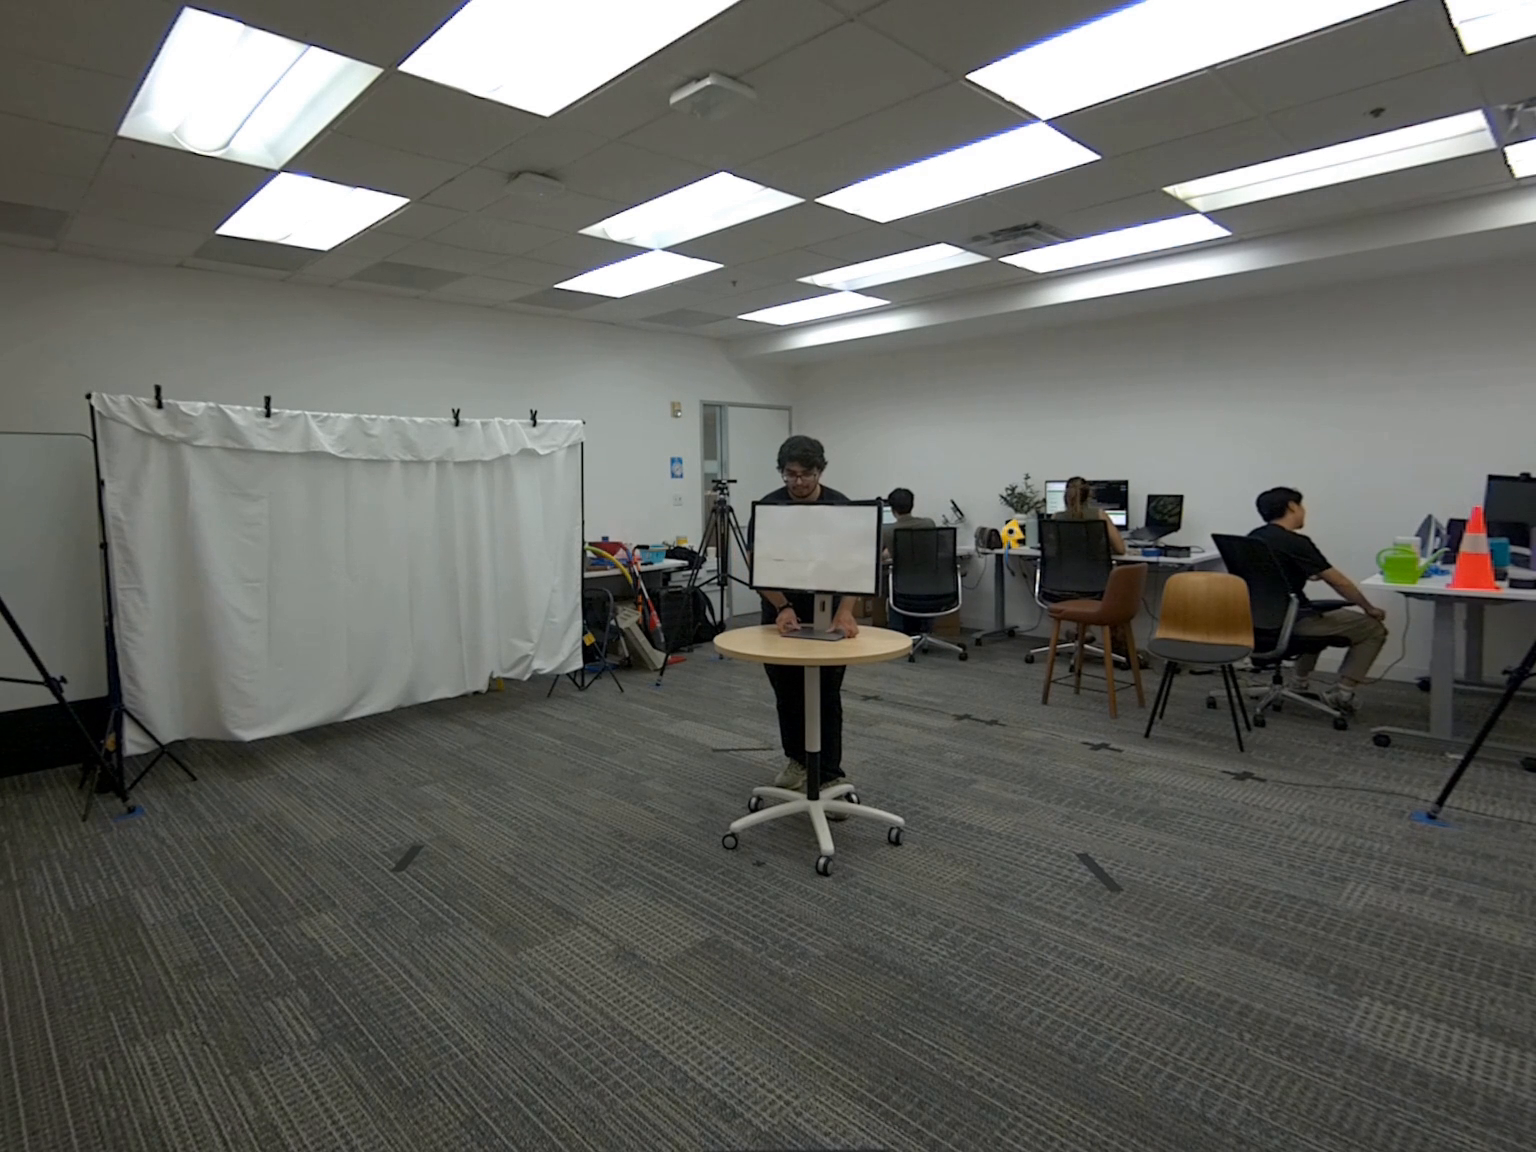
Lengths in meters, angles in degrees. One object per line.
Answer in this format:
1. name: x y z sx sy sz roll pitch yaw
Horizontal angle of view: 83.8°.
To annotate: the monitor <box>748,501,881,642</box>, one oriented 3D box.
1. monitor: 0.213 -0.028 3.416 0.580 0.552 0.205 2 3 31
